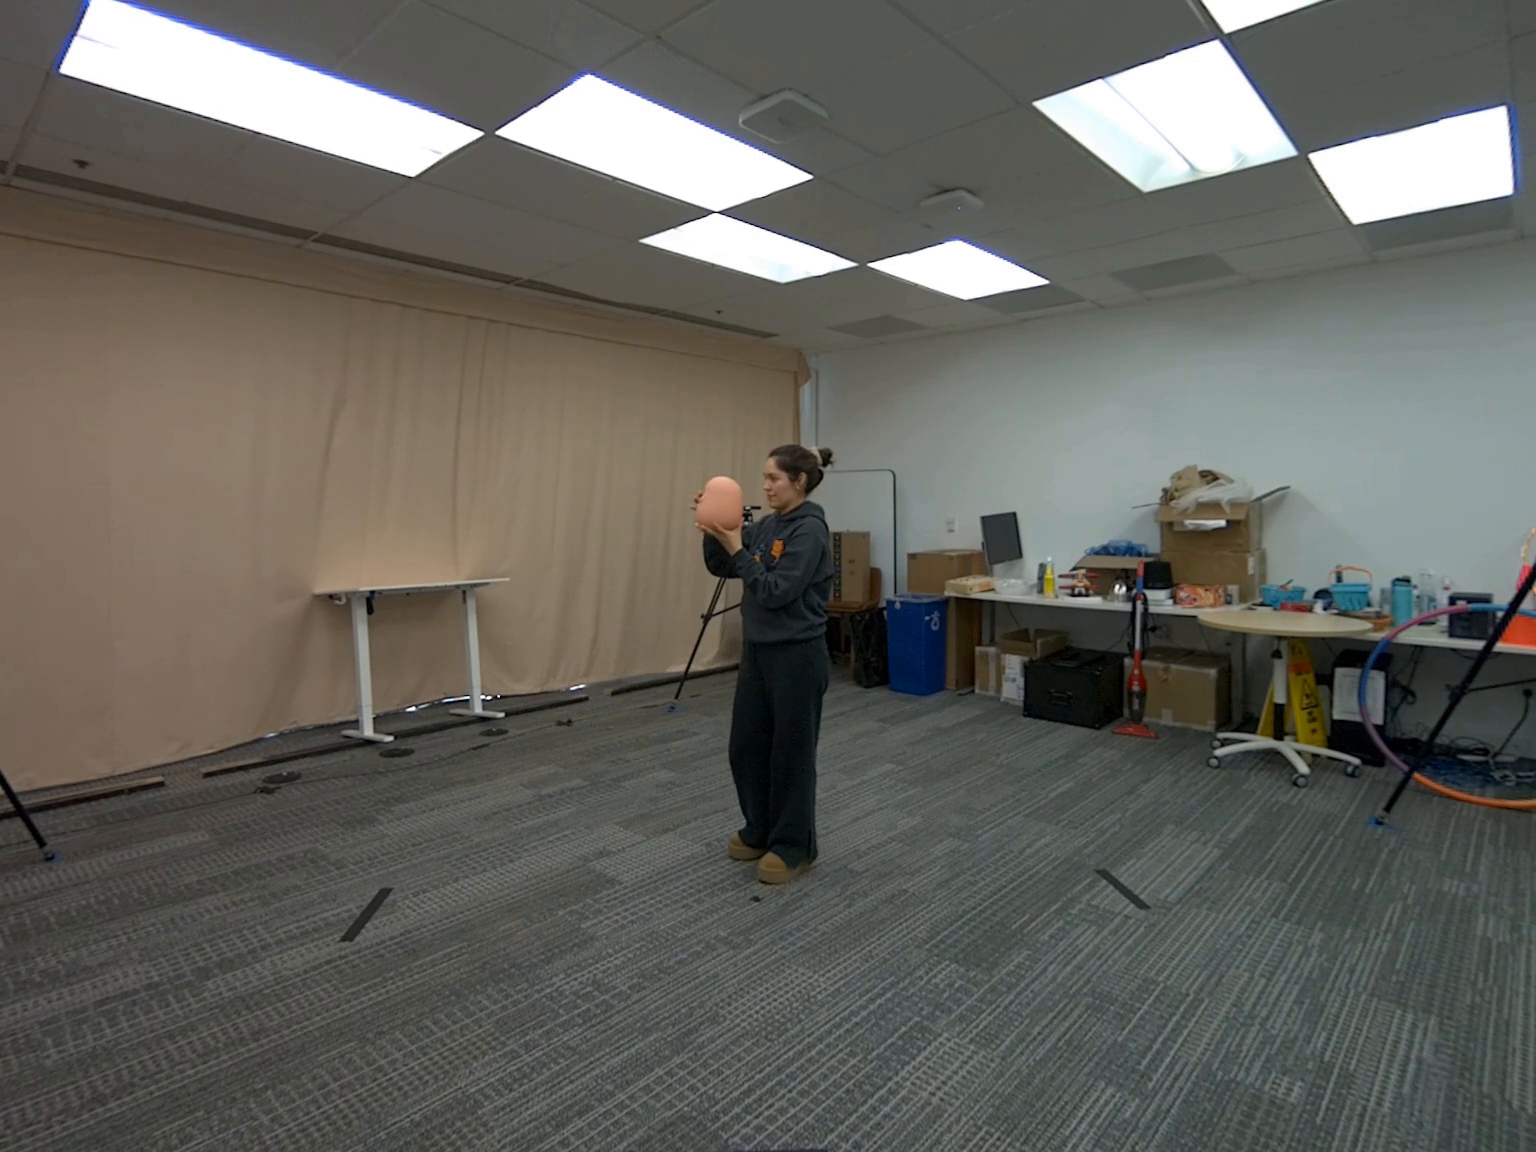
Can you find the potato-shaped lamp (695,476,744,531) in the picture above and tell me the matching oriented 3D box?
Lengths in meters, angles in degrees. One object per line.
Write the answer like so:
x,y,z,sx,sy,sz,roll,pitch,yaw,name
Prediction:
-0.162,-0.261,3.077,0.165,0.198,0.170,18,-4,-36,potato-shaped lamp
